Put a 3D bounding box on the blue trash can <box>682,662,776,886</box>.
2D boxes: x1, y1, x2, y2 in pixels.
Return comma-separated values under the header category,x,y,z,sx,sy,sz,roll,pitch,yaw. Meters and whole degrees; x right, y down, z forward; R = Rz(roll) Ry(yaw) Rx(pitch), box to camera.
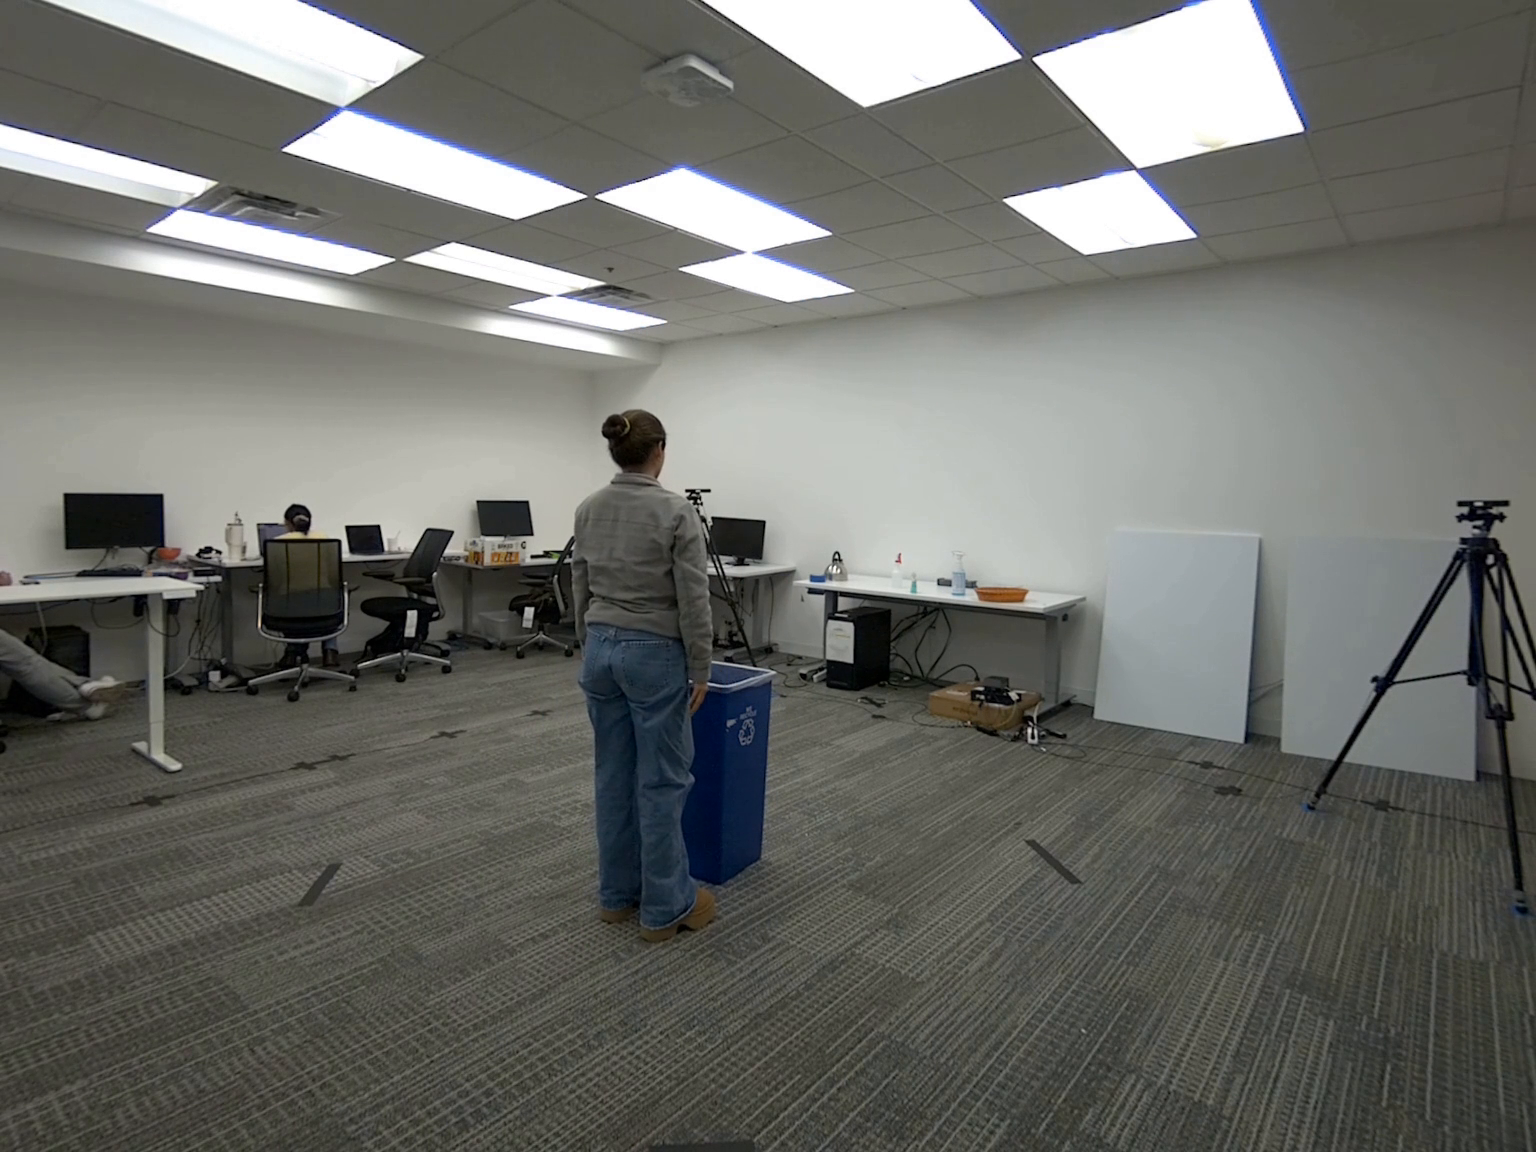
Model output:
category,x,y,z,sx,sy,sz,roll,pitch,yaw
blue trash can,-0.225,0.708,3.181,0.389,0.711,0.364,3,4,31
